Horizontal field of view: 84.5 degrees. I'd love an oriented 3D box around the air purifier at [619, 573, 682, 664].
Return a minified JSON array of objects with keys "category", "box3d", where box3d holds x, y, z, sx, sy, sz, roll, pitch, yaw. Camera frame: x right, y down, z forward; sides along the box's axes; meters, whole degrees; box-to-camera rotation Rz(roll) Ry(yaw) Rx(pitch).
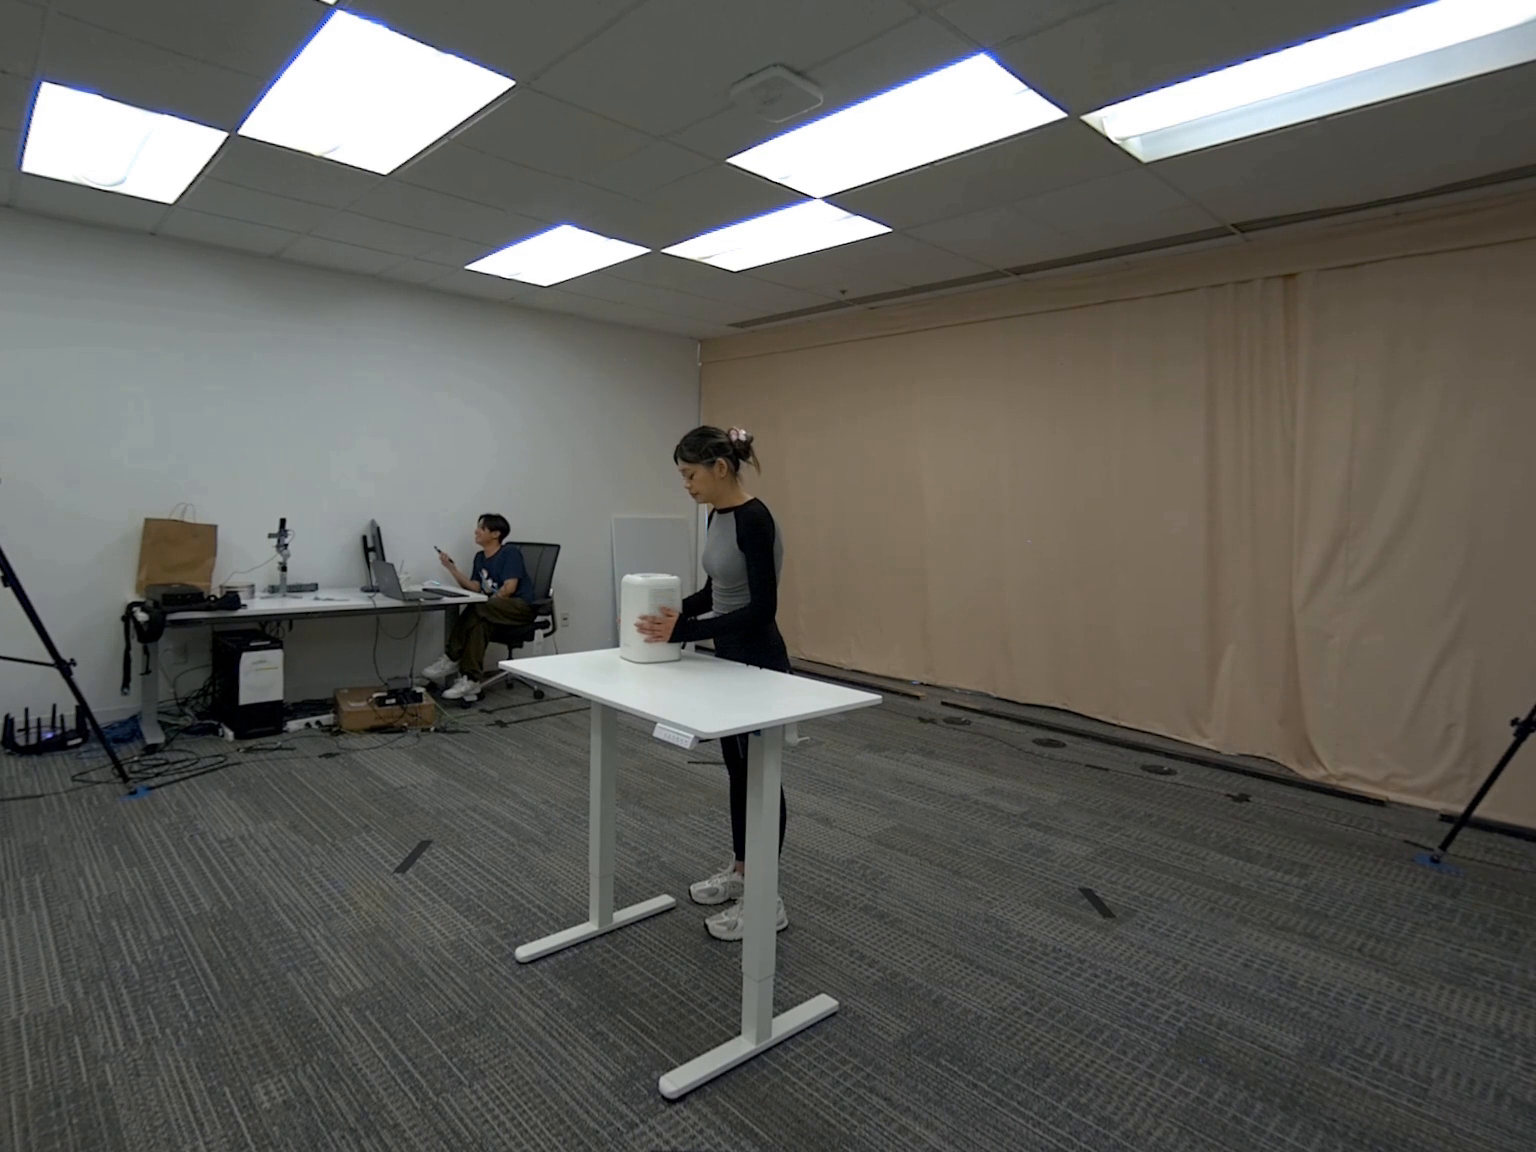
[{"category":"air purifier","box3d":[-0.373,0.131,2.665,0.168,0.265,0.175,1,0,-31]}]
